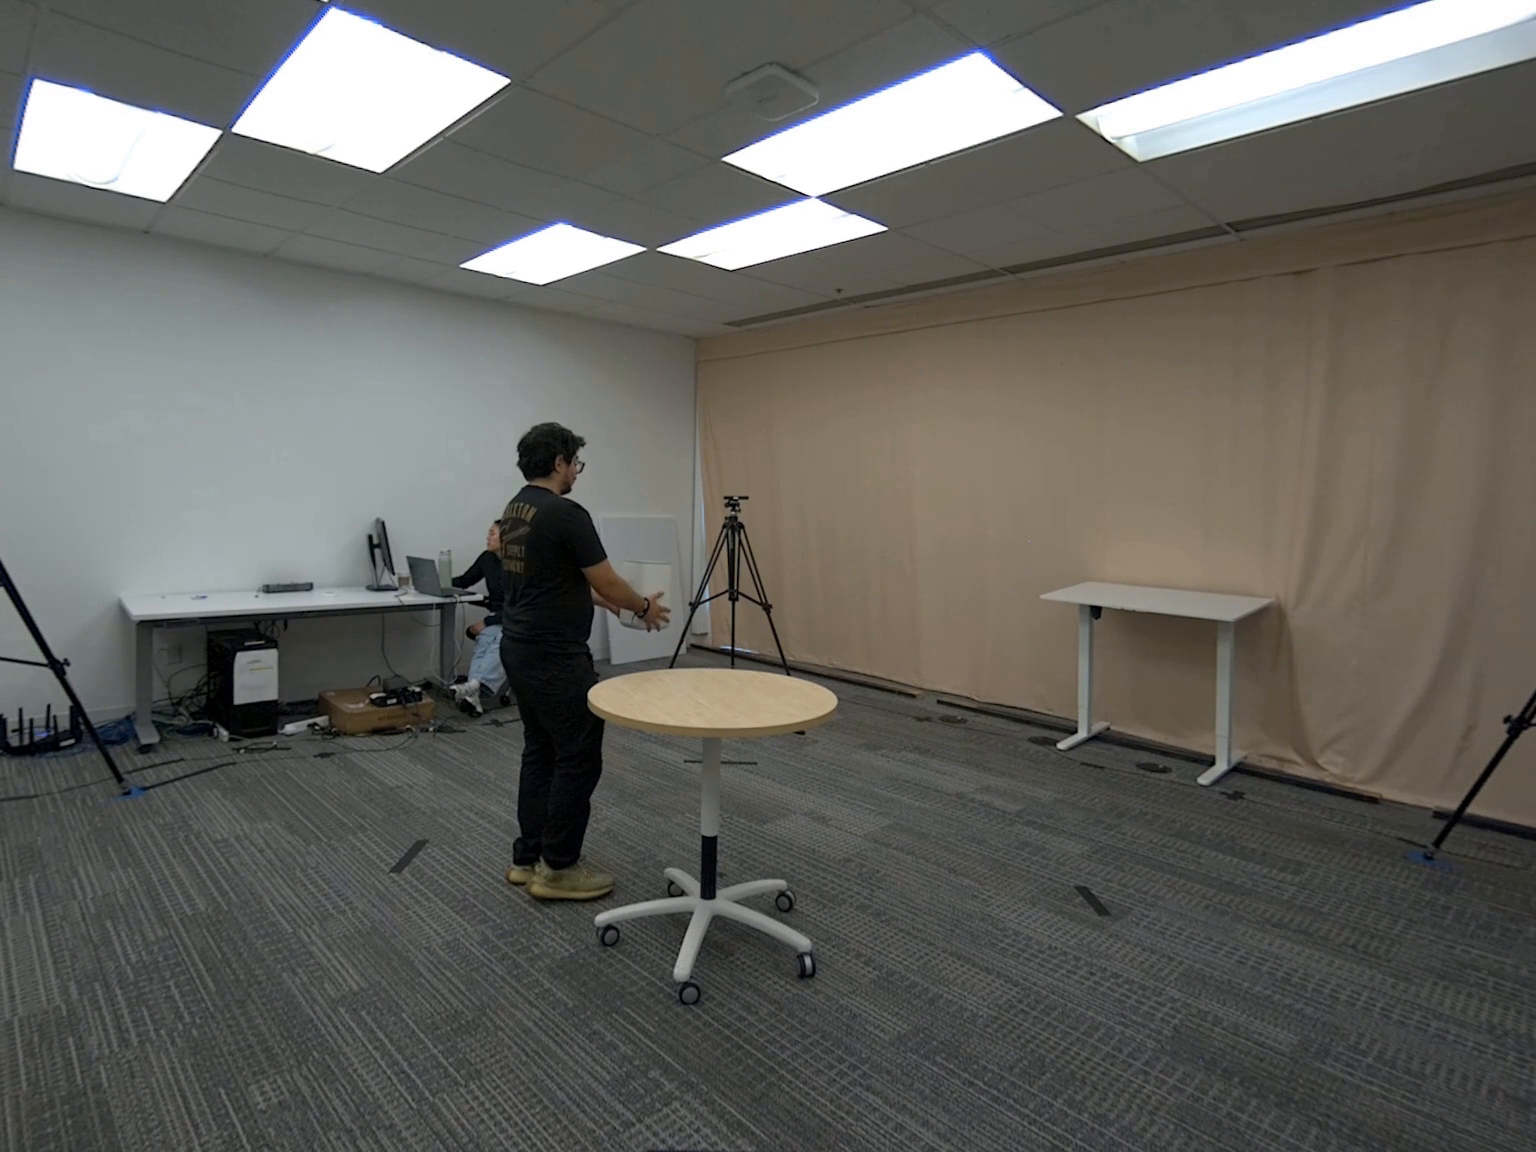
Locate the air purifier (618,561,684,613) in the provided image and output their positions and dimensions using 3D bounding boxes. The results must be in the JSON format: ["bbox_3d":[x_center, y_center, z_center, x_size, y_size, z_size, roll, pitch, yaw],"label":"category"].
[{"bbox_3d":[-0.492,0.075,3.334,0.167,0.265,0.176,3,1,-45],"label":"air purifier"}]
